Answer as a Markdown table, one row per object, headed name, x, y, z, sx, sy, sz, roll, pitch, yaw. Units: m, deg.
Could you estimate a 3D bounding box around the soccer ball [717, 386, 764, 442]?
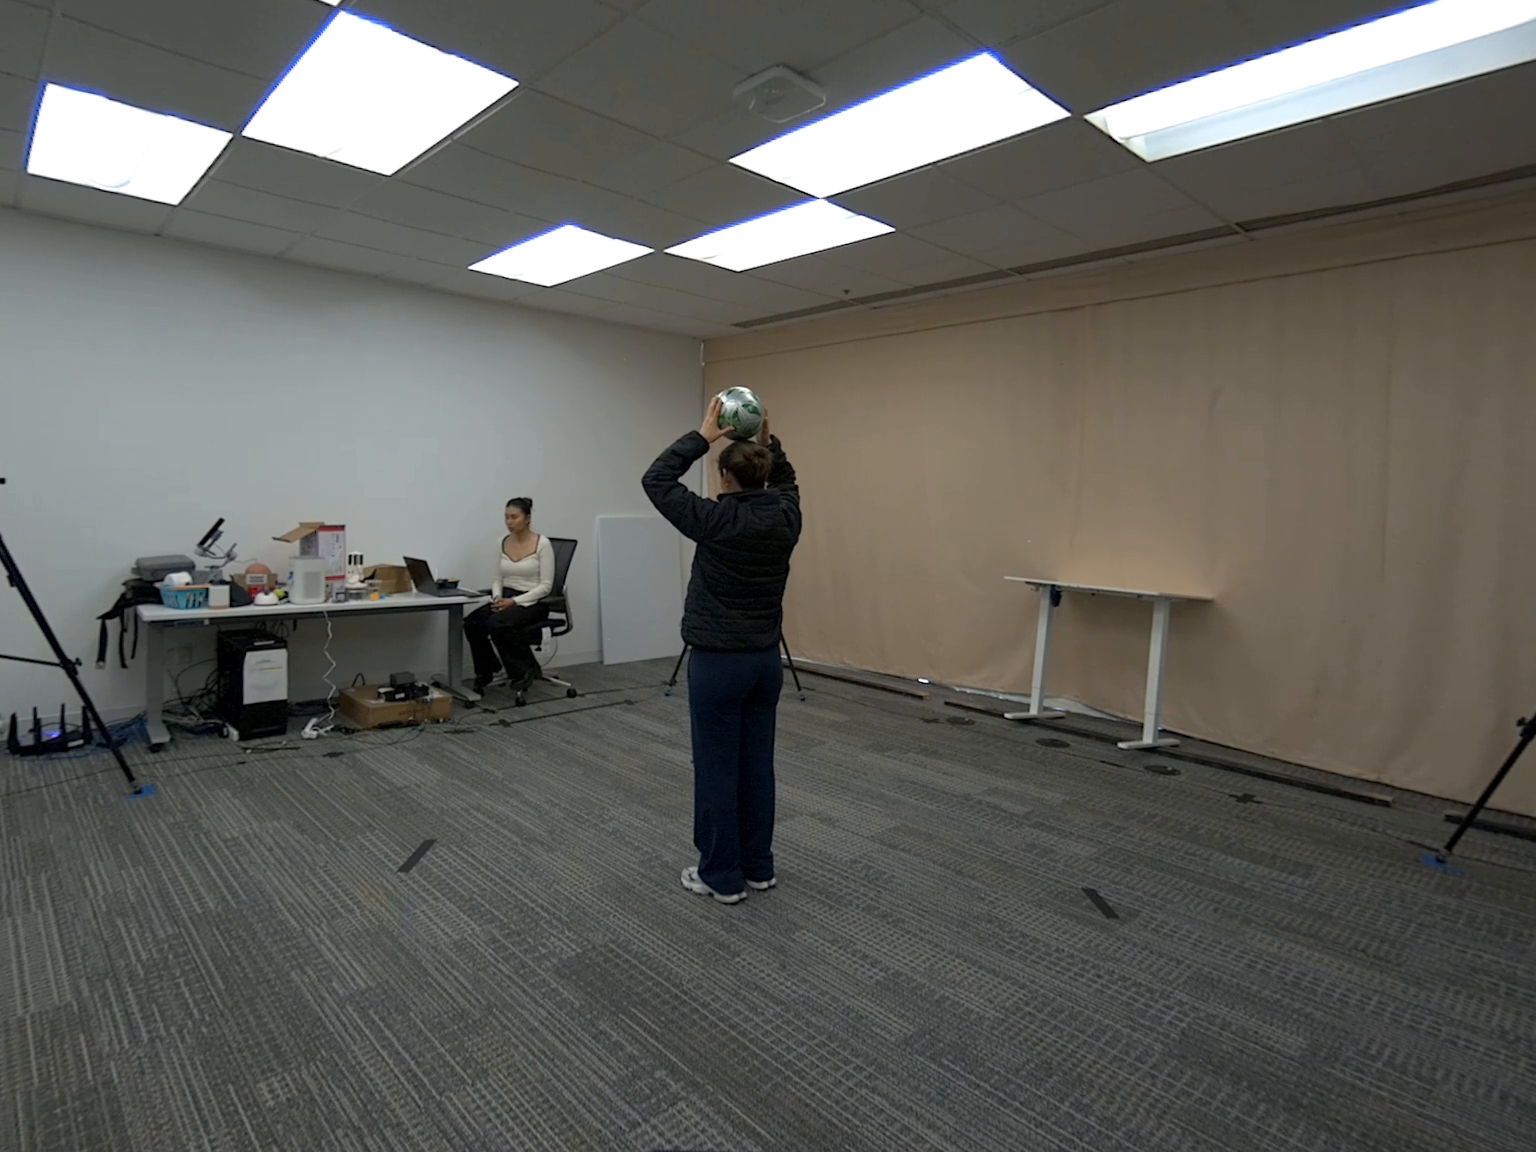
| name | x | y | z | sx | sy | sz | roll | pitch | yaw |
| --- | --- | --- | --- | --- | --- | --- | --- | --- | --- |
| soccer ball | -0.111 | -0.565 | 2.945 | 0.187 | 0.187 | 0.188 | 1 | 4 | -1 |
